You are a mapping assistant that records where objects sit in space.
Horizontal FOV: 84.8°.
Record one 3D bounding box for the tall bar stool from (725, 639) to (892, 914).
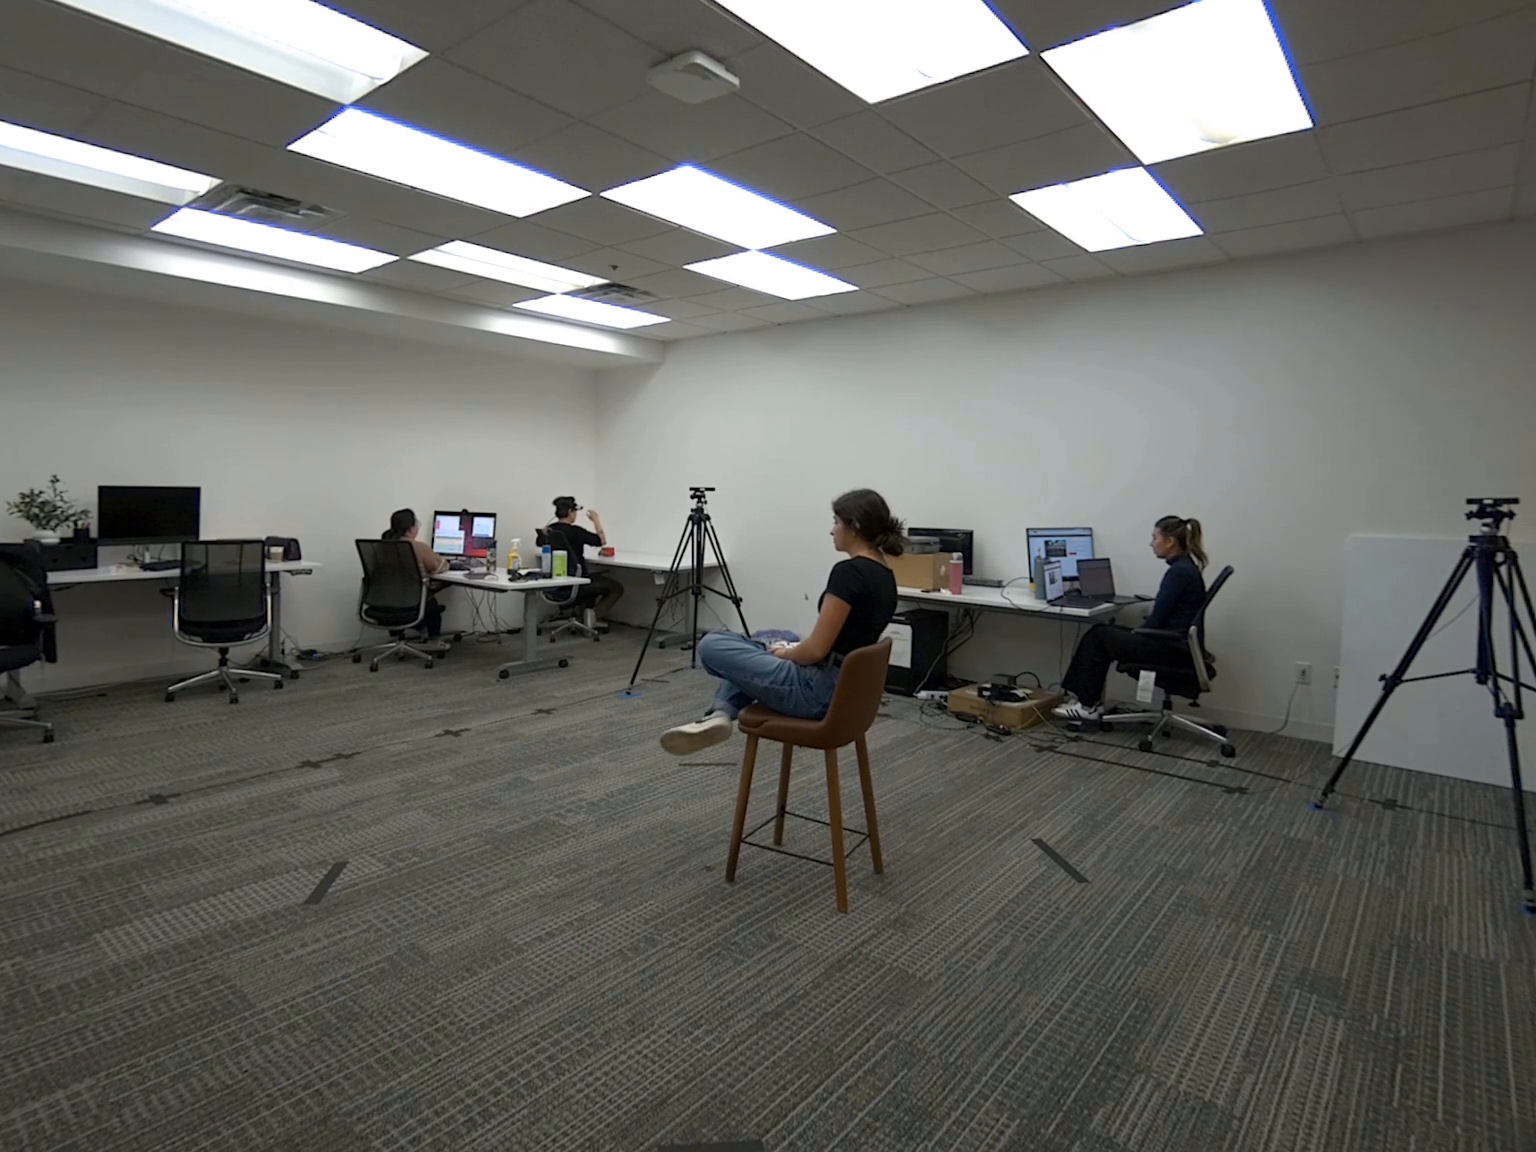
[{"bbox_3d":[0.153,0.646,3.042,0.482,0.886,0.444,6,5,30],"label":"tall bar stool"}]
